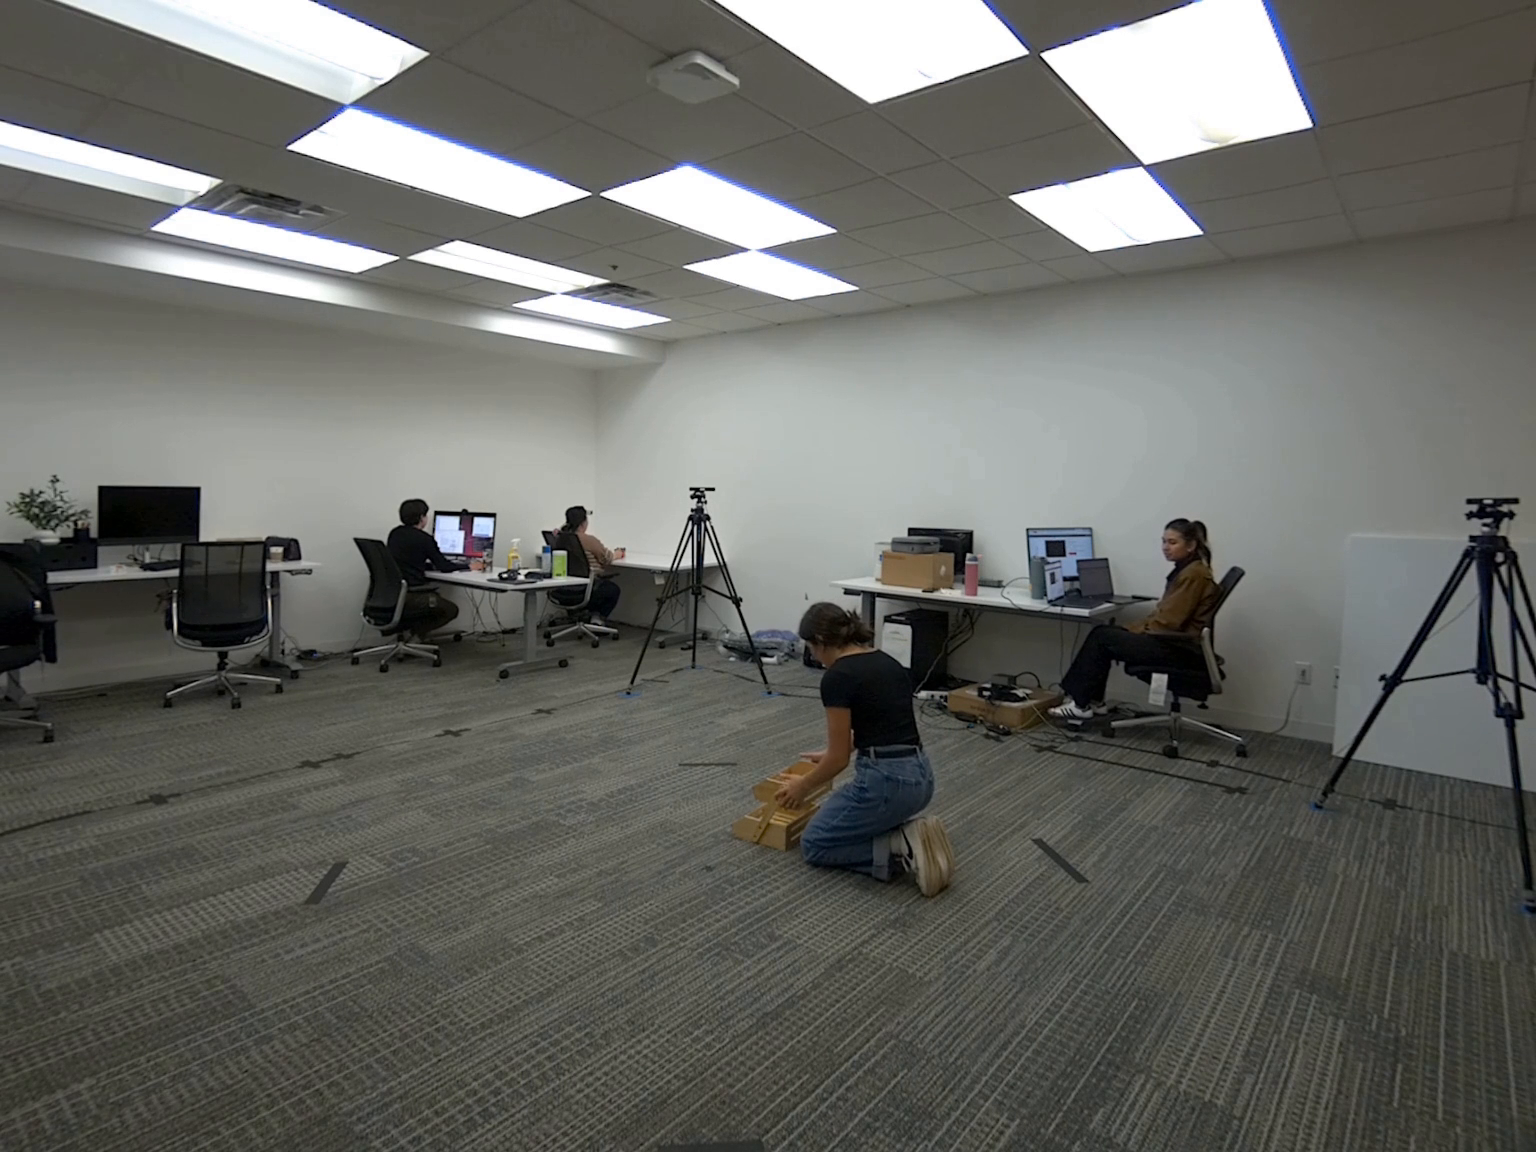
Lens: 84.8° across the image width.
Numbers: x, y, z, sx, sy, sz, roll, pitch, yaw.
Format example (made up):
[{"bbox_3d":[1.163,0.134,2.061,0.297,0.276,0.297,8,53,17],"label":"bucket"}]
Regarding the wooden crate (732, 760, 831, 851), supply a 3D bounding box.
[{"bbox_3d":[0.046,0.907,3.451,0.311,0.272,0.316,4,6,31],"label":"wooden crate"}]
